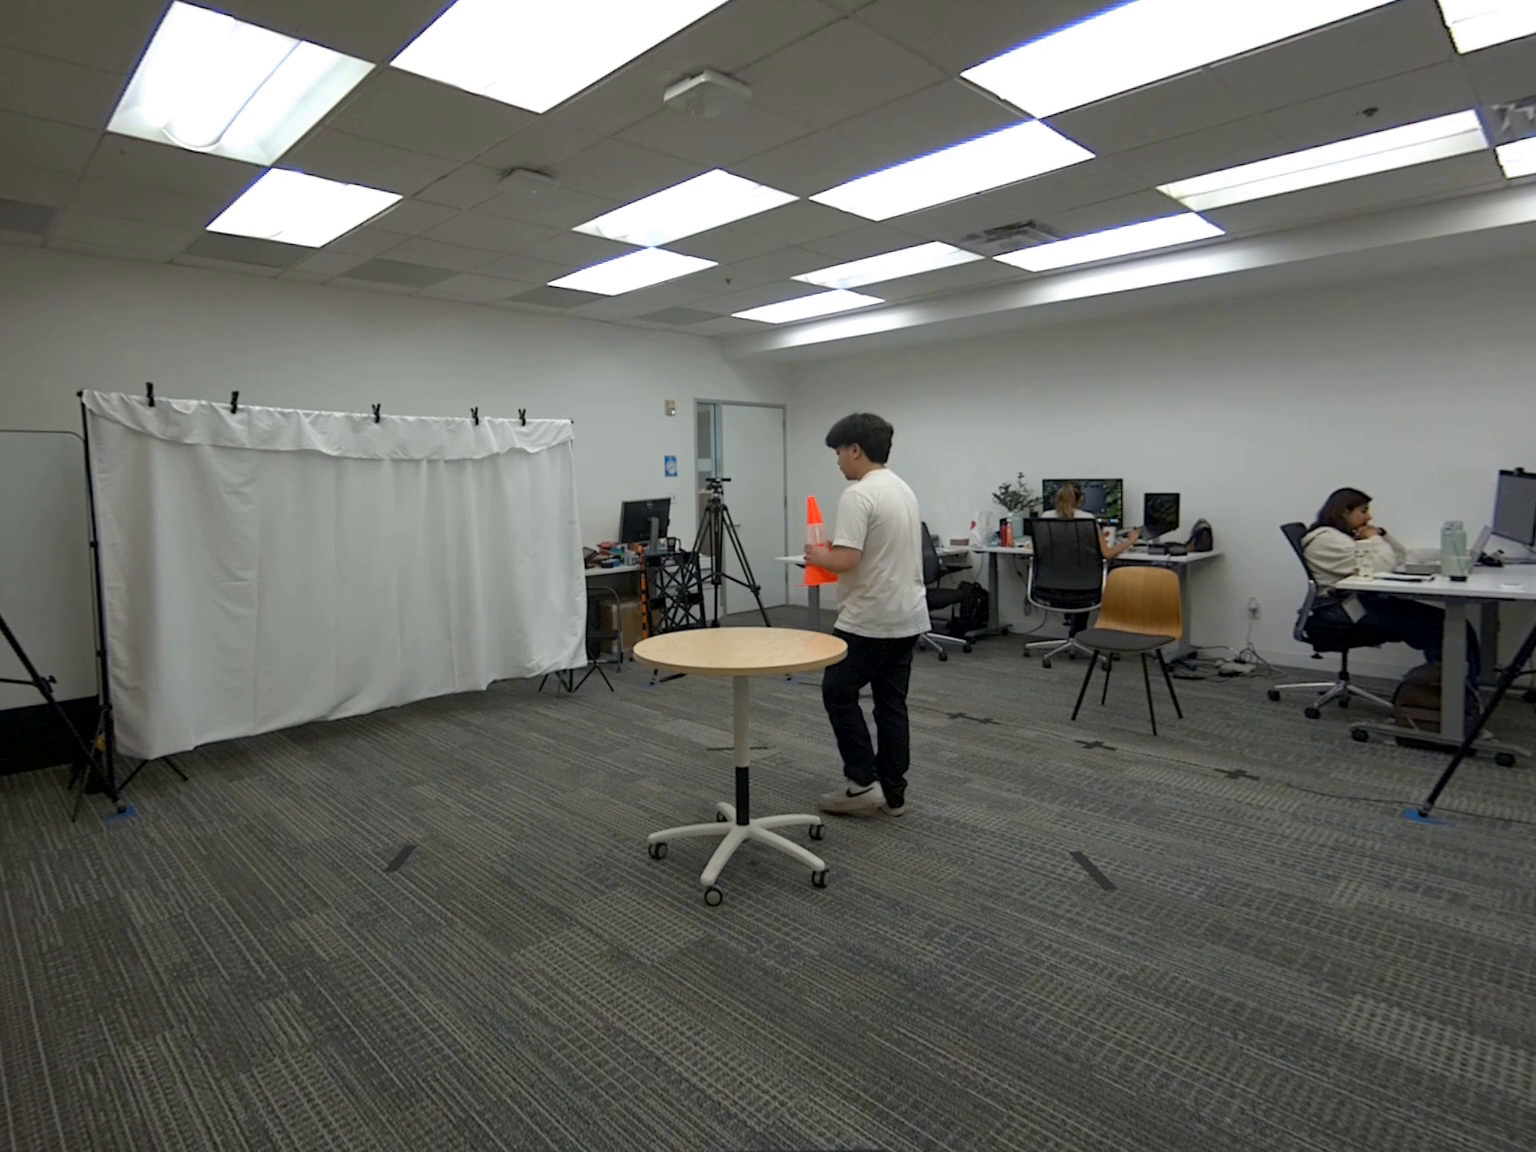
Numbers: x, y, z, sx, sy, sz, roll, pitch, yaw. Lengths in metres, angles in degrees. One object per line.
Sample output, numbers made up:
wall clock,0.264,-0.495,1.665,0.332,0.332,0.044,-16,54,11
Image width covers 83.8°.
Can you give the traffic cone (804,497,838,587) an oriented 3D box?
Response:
traffic cone,0.221,-0.157,3.741,0.210,0.386,0.198,-11,-6,40
